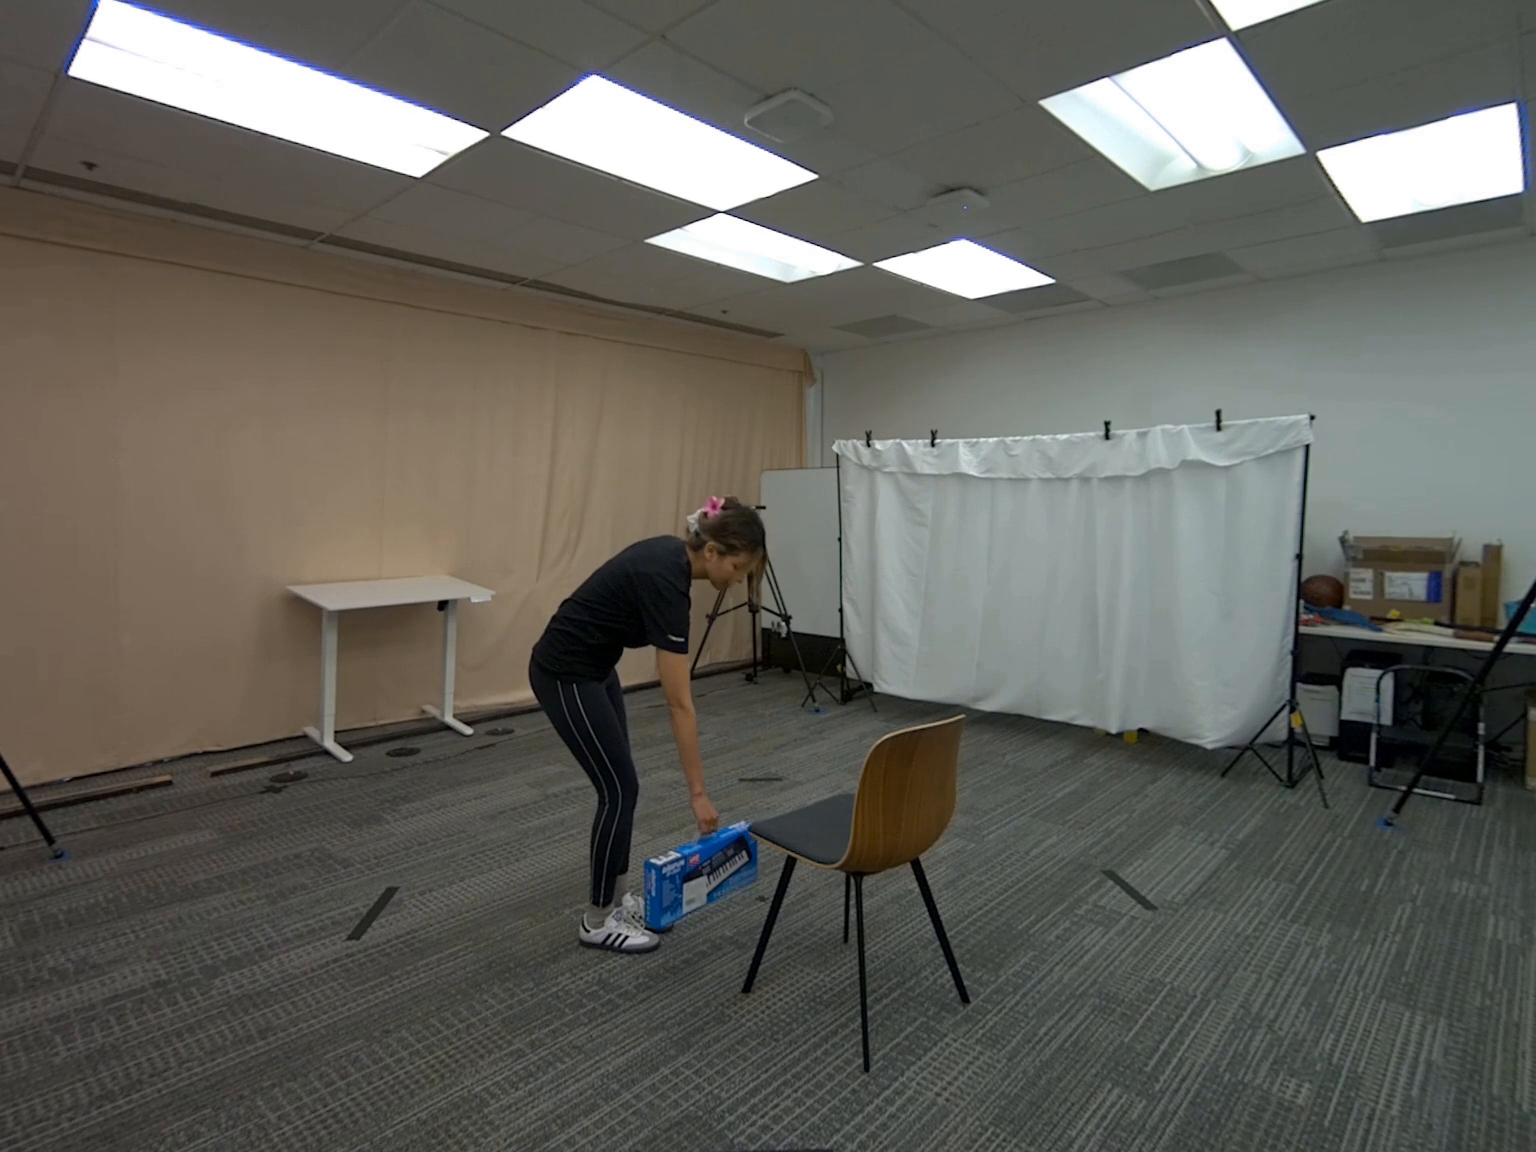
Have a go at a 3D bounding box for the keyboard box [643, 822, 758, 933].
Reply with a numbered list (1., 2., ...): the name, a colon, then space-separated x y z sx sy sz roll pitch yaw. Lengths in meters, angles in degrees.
1. keyboard box: -0.183 0.861 2.437 0.061 0.176 0.423 0 2 39
